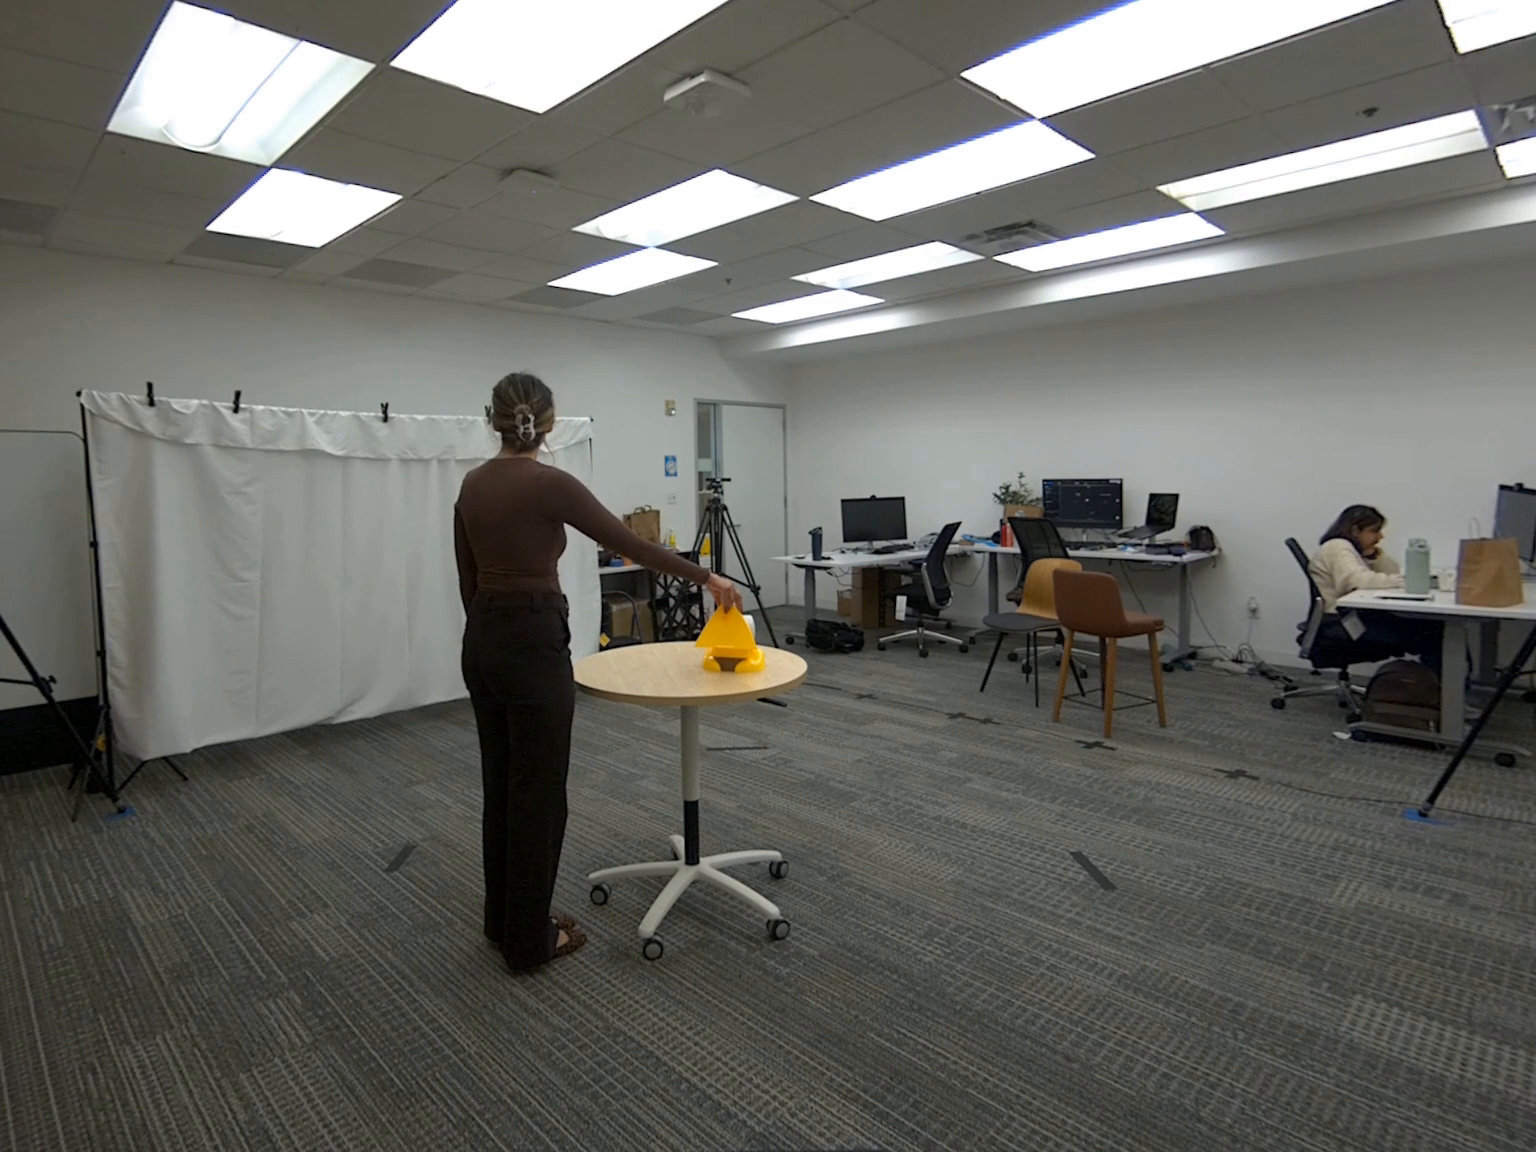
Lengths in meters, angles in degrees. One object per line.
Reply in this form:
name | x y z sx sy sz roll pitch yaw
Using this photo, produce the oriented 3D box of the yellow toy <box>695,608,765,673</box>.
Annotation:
yellow toy | -0.107 0.176 2.722 0.208 0.229 0.191 2 6 15
